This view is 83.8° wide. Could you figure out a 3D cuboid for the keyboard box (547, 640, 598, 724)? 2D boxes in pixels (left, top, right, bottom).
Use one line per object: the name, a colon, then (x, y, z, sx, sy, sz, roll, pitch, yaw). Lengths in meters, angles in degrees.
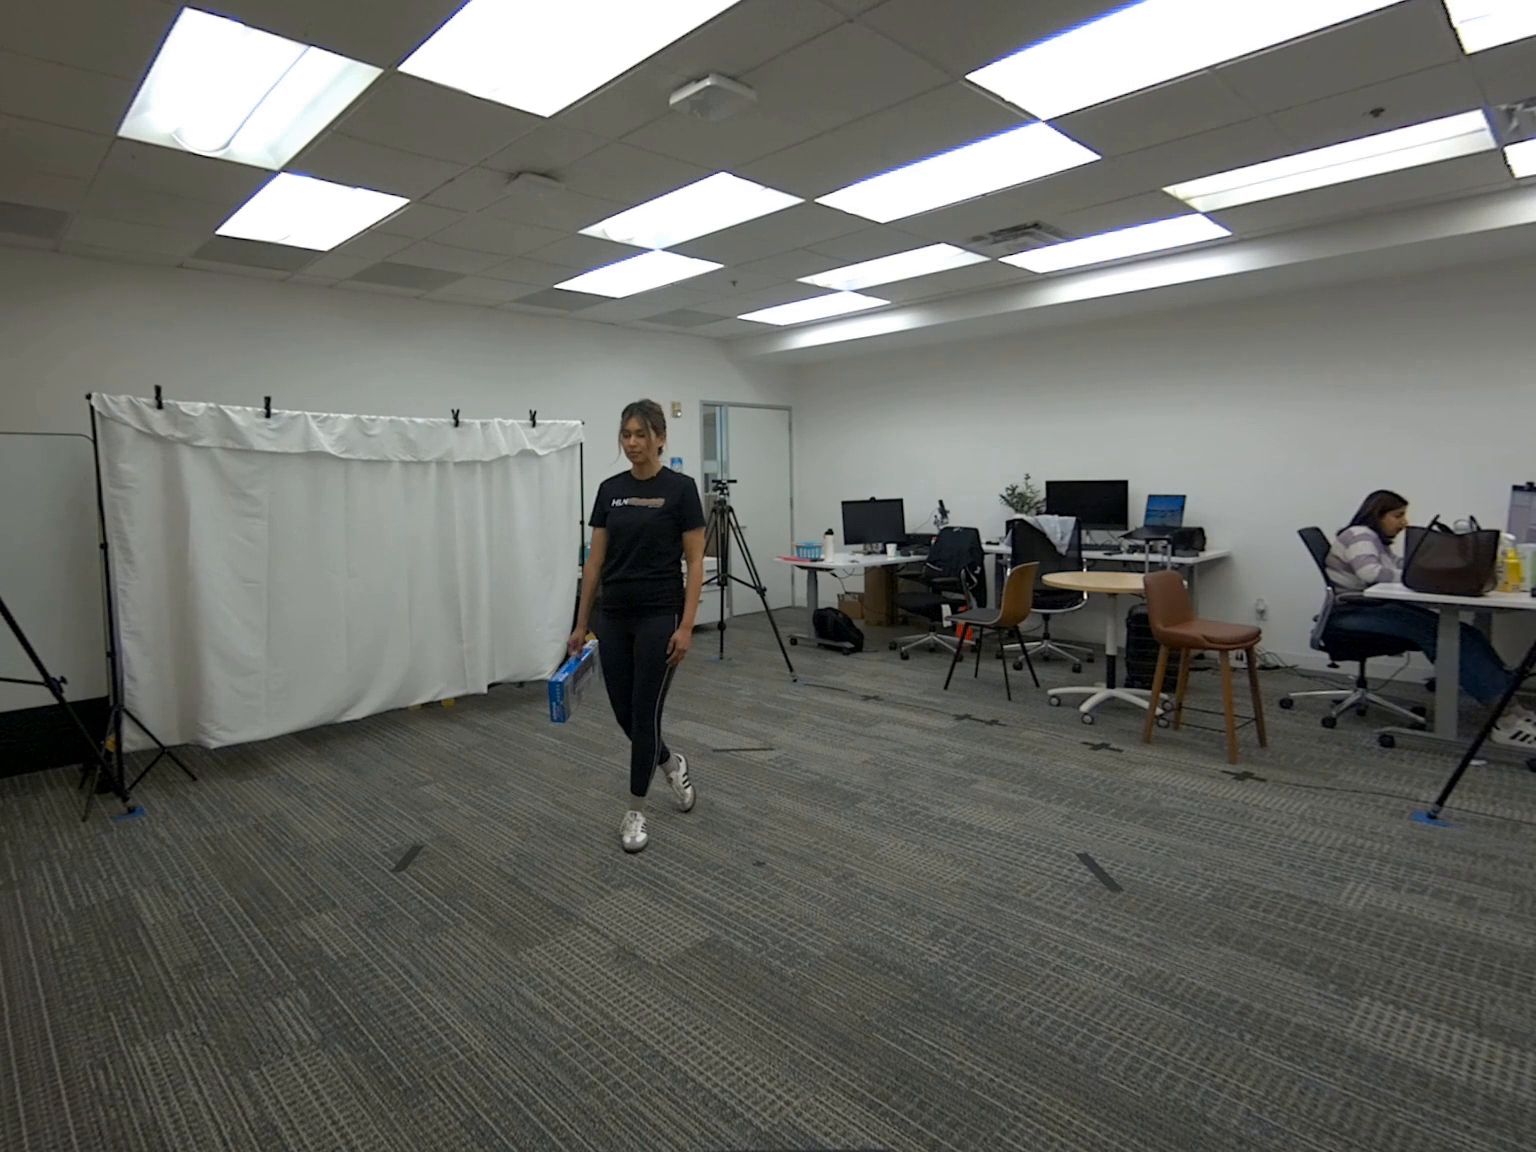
keyboard box: (-0.760, 0.407, 3.434, 0.060, 0.173, 0.438, 2, 16, 9)
